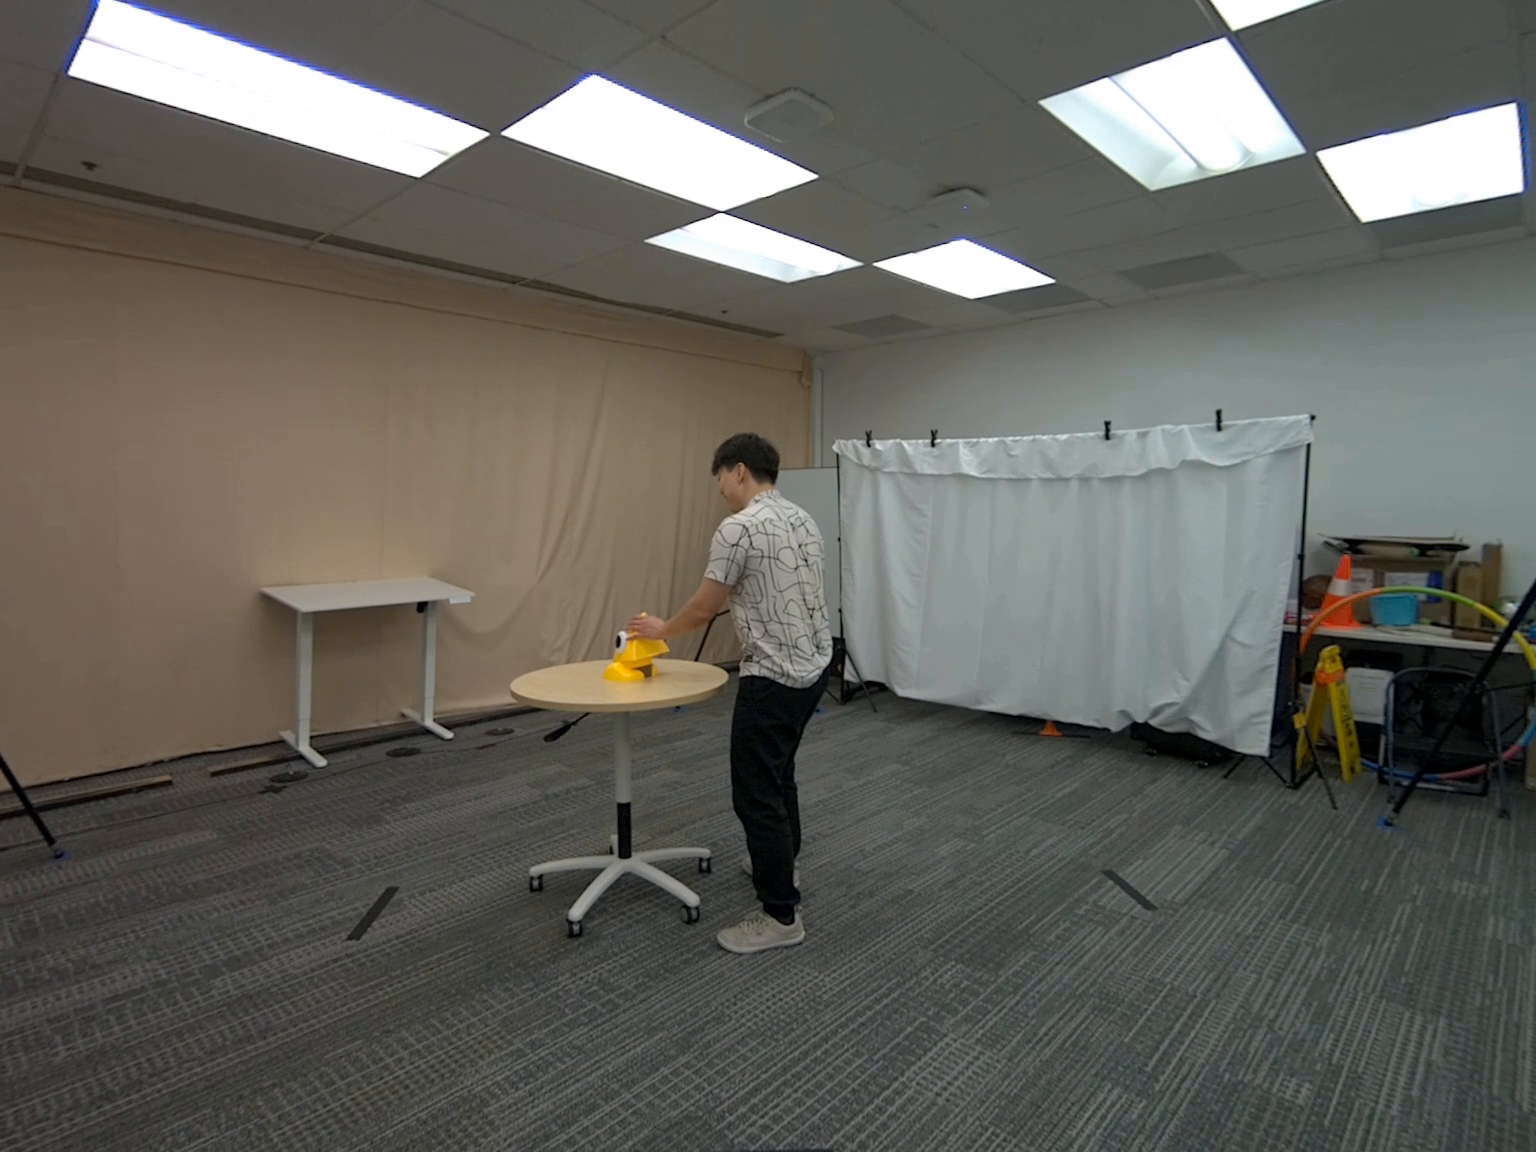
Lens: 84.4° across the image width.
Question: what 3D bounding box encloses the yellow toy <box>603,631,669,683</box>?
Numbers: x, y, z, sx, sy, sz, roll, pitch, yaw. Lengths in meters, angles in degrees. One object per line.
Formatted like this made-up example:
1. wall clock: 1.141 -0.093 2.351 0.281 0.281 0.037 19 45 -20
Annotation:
1. yellow toy: -0.486 0.247 3.034 0.199 0.230 0.199 2 4 32
